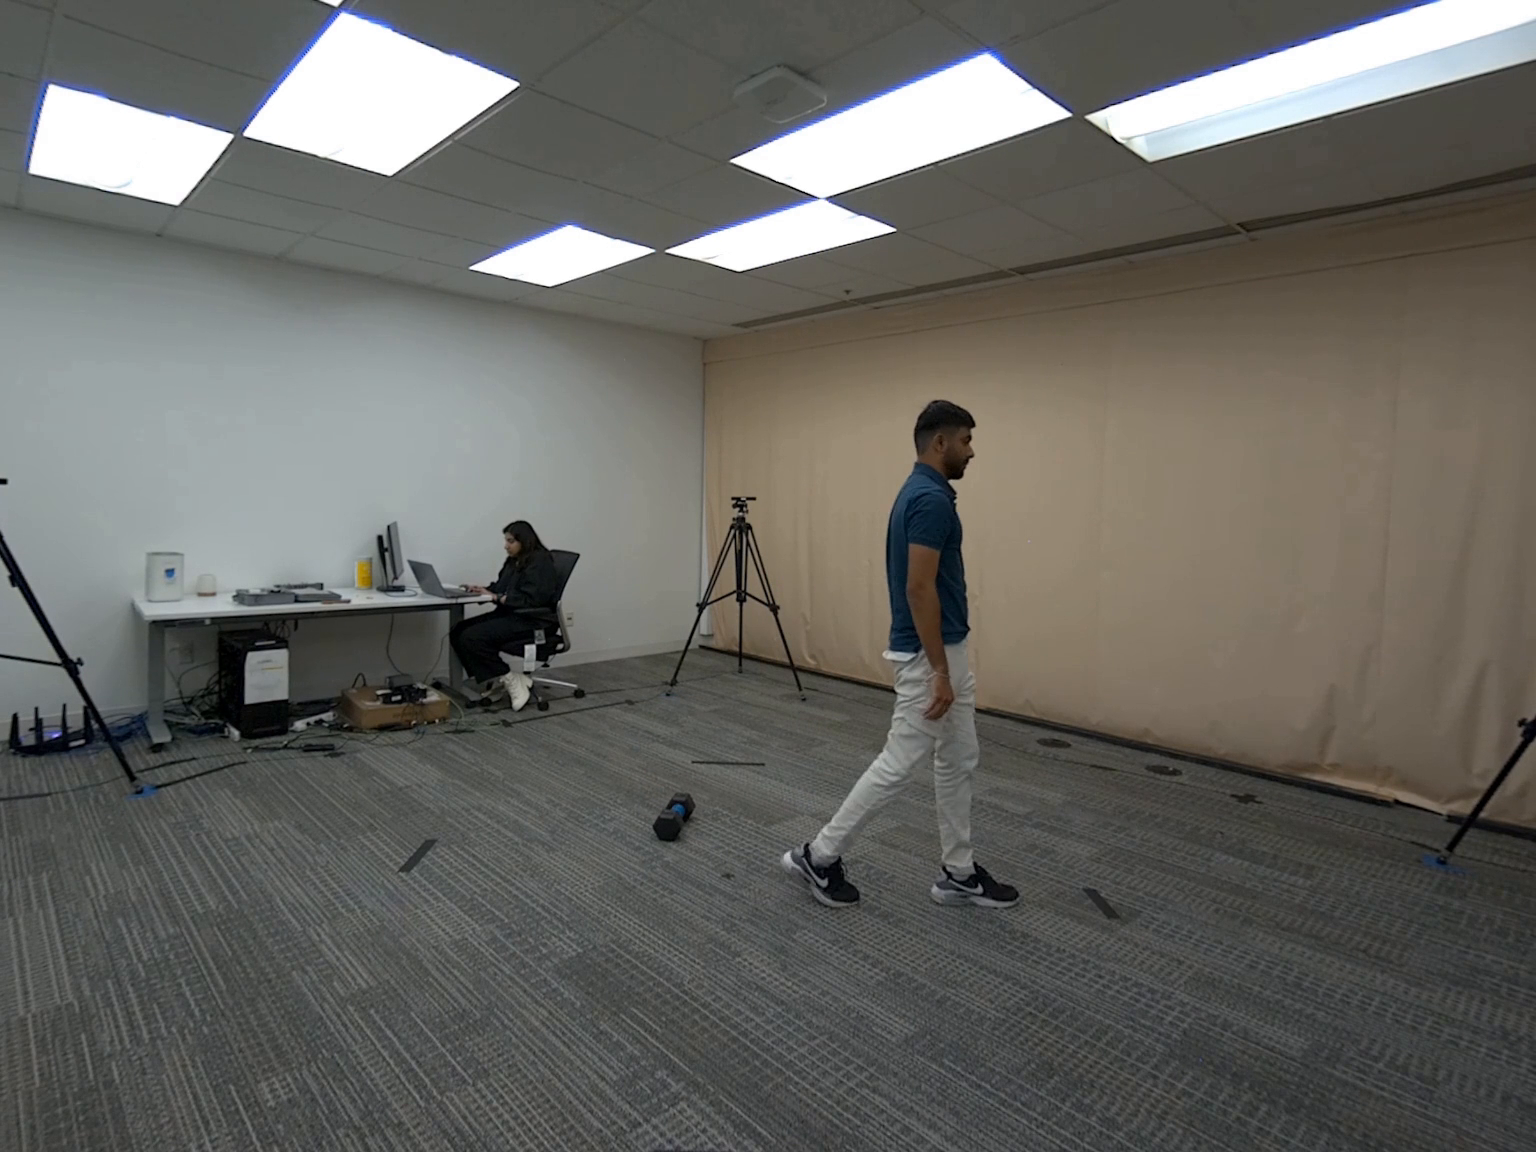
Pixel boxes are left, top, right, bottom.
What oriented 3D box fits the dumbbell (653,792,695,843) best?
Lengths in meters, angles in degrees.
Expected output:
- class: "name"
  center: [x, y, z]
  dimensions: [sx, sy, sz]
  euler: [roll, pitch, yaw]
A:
- class: "dumbbell"
  center: [-0.405, 1.008, 3.538]
  dimensions: [0.124, 0.108, 0.292]
  euler: [2, 5, 8]
